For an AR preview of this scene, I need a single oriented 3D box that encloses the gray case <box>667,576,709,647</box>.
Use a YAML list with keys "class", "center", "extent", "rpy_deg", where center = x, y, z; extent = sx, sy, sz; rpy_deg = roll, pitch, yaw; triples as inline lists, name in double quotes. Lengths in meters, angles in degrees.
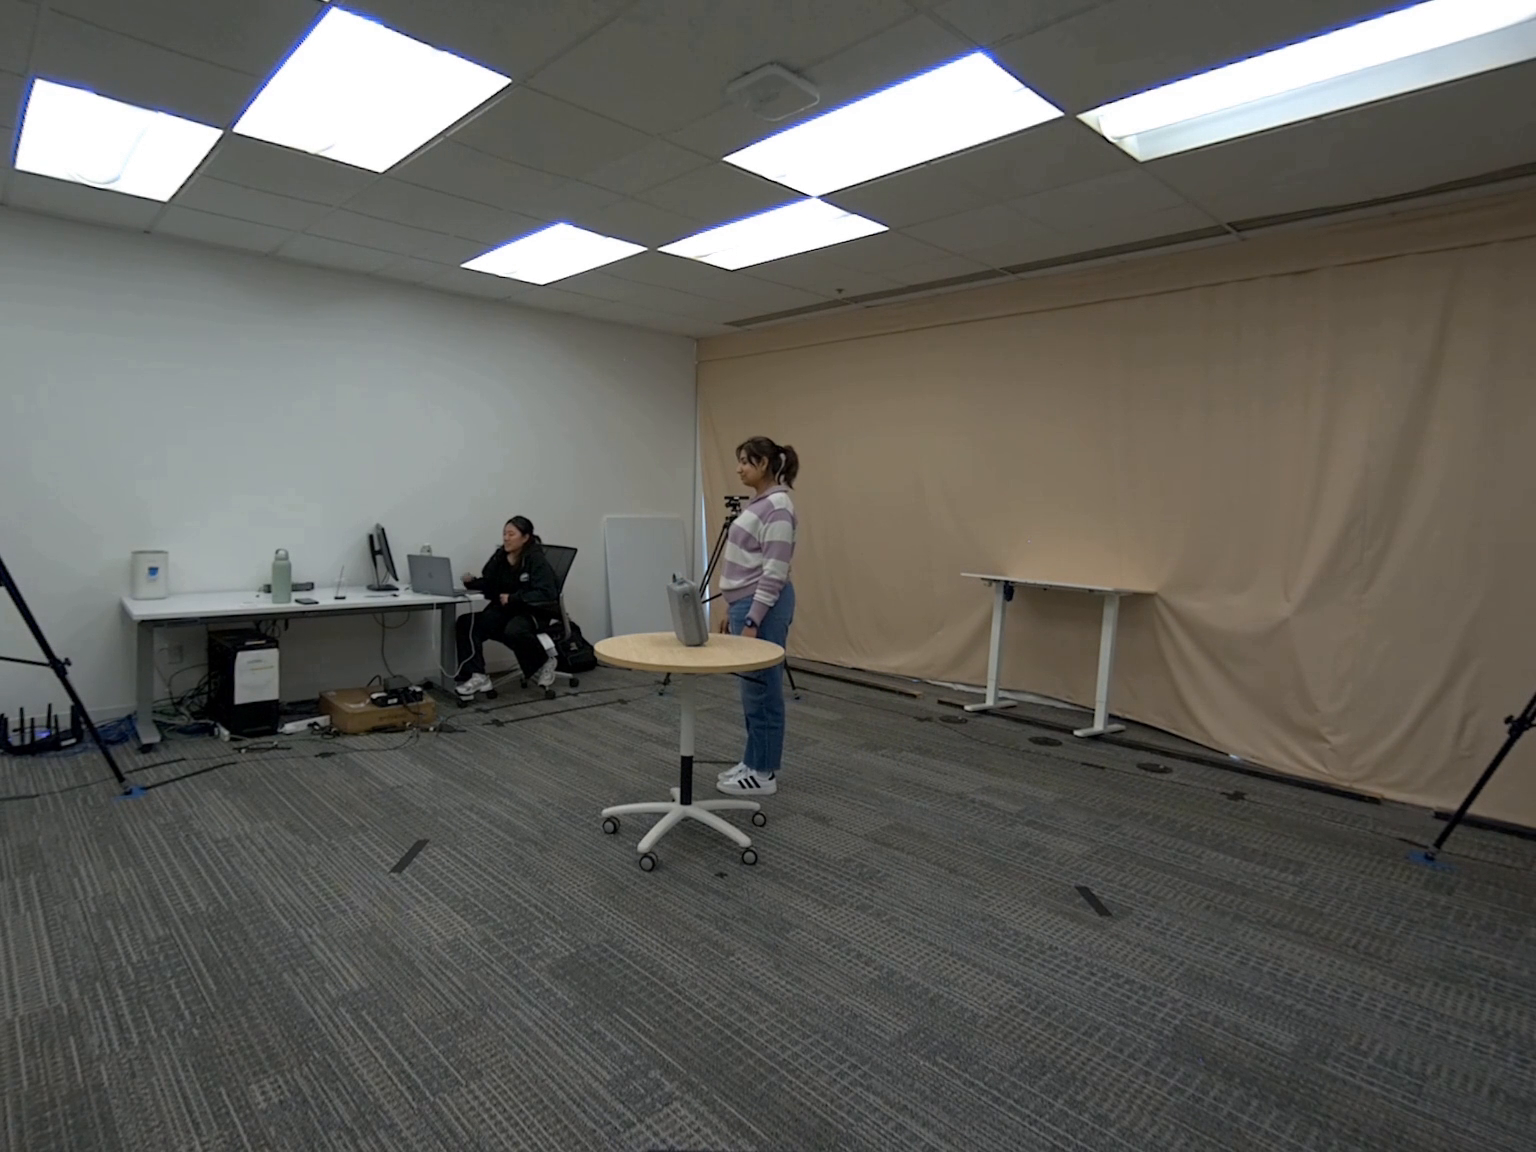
- class: "gray case"
  center: [-0.345, 0.150, 3.521]
  extent: [0.103, 0.260, 0.260]
  rpy_deg: [-9, 5, -14]
